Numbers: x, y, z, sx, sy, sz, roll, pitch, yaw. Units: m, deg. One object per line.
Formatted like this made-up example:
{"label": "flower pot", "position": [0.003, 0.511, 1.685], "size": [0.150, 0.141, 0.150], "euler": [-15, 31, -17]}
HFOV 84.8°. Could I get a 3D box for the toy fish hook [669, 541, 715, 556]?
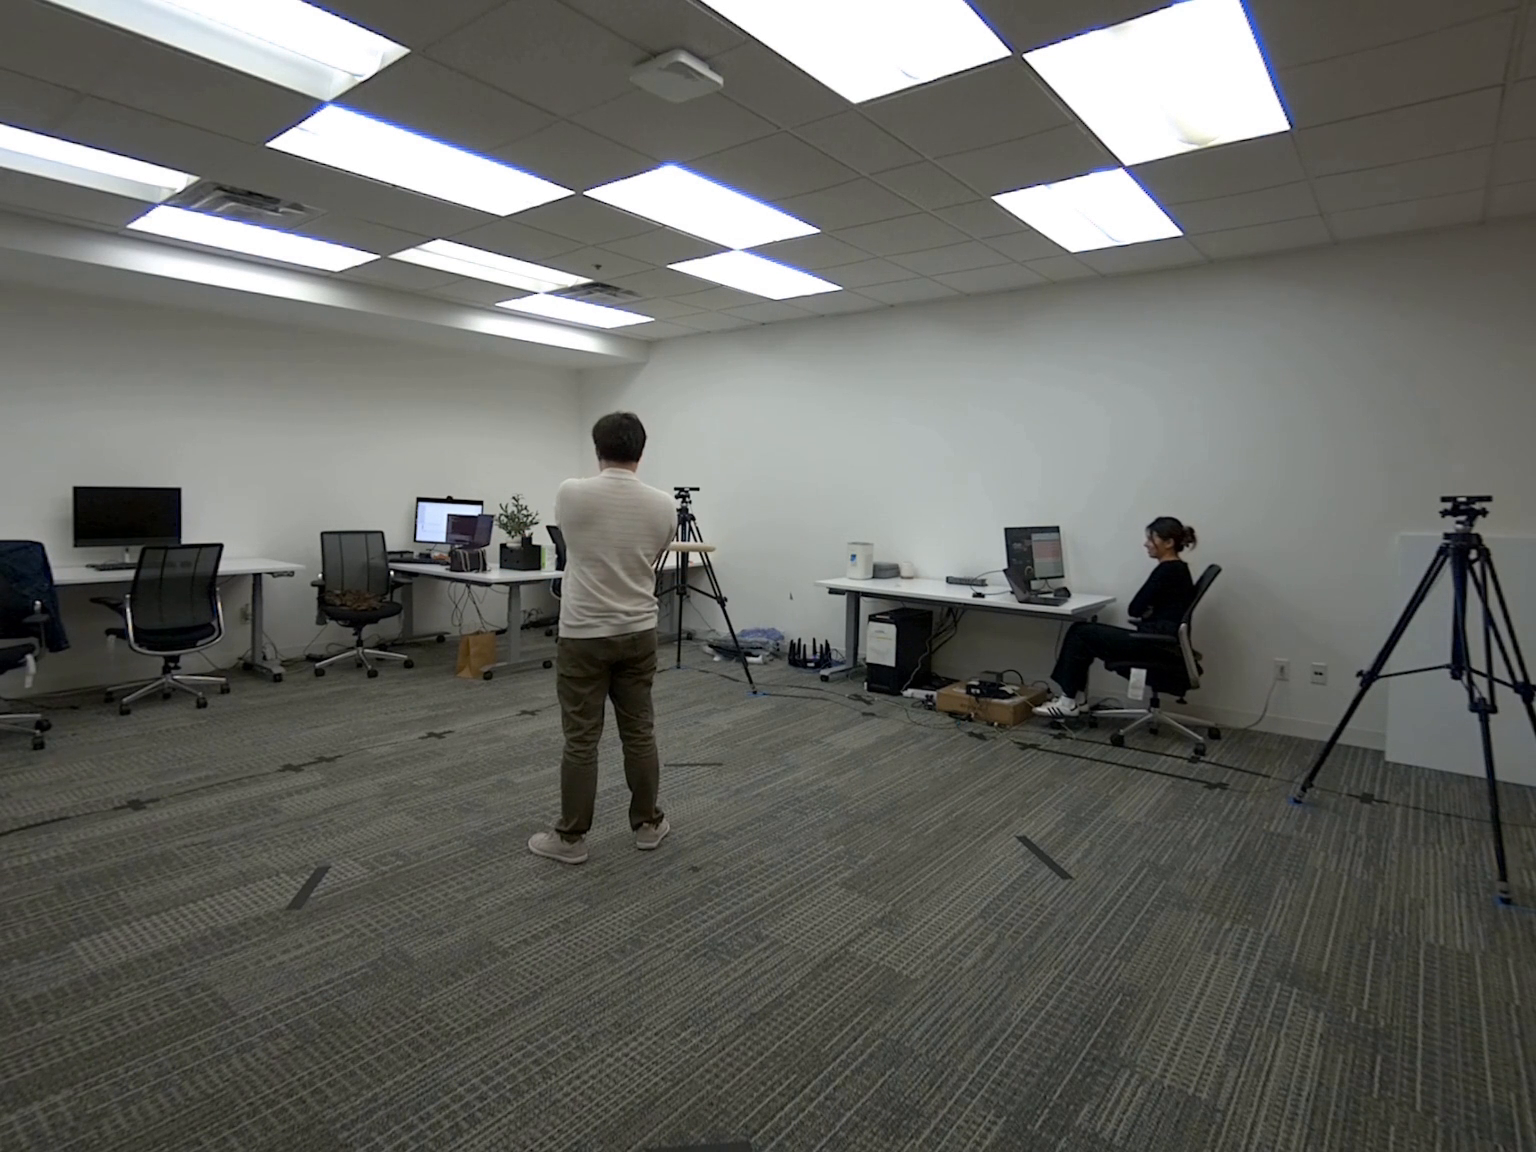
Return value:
{"label": "toy fish hook", "position": [-0.513, -0.126, 3.769], "size": [0.498, 0.048, 0.227], "euler": [2, -5, -16]}
